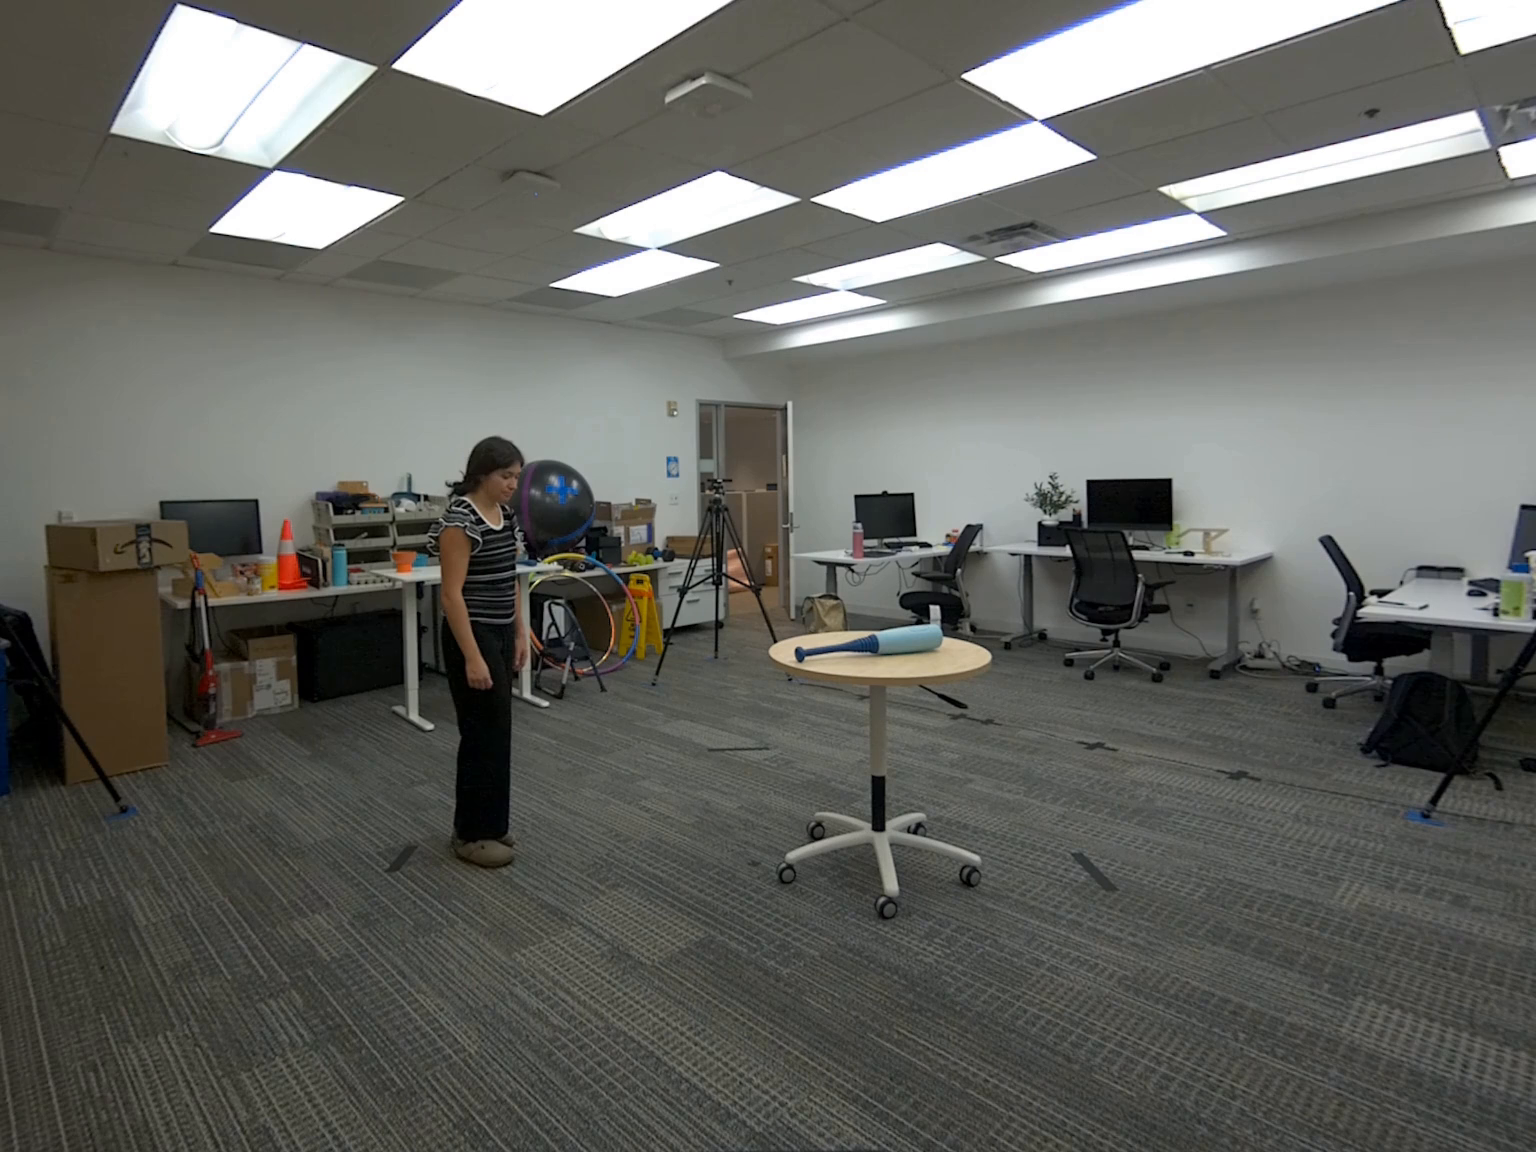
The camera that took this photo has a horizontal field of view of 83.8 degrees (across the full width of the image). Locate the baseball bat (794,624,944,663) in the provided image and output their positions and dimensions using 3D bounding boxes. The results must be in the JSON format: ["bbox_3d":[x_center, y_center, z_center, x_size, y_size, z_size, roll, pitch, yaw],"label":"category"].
[{"bbox_3d":[0.350,0.240,2.925,0.534,0.088,0.091,-6,6,-19],"label":"baseball bat"}]
